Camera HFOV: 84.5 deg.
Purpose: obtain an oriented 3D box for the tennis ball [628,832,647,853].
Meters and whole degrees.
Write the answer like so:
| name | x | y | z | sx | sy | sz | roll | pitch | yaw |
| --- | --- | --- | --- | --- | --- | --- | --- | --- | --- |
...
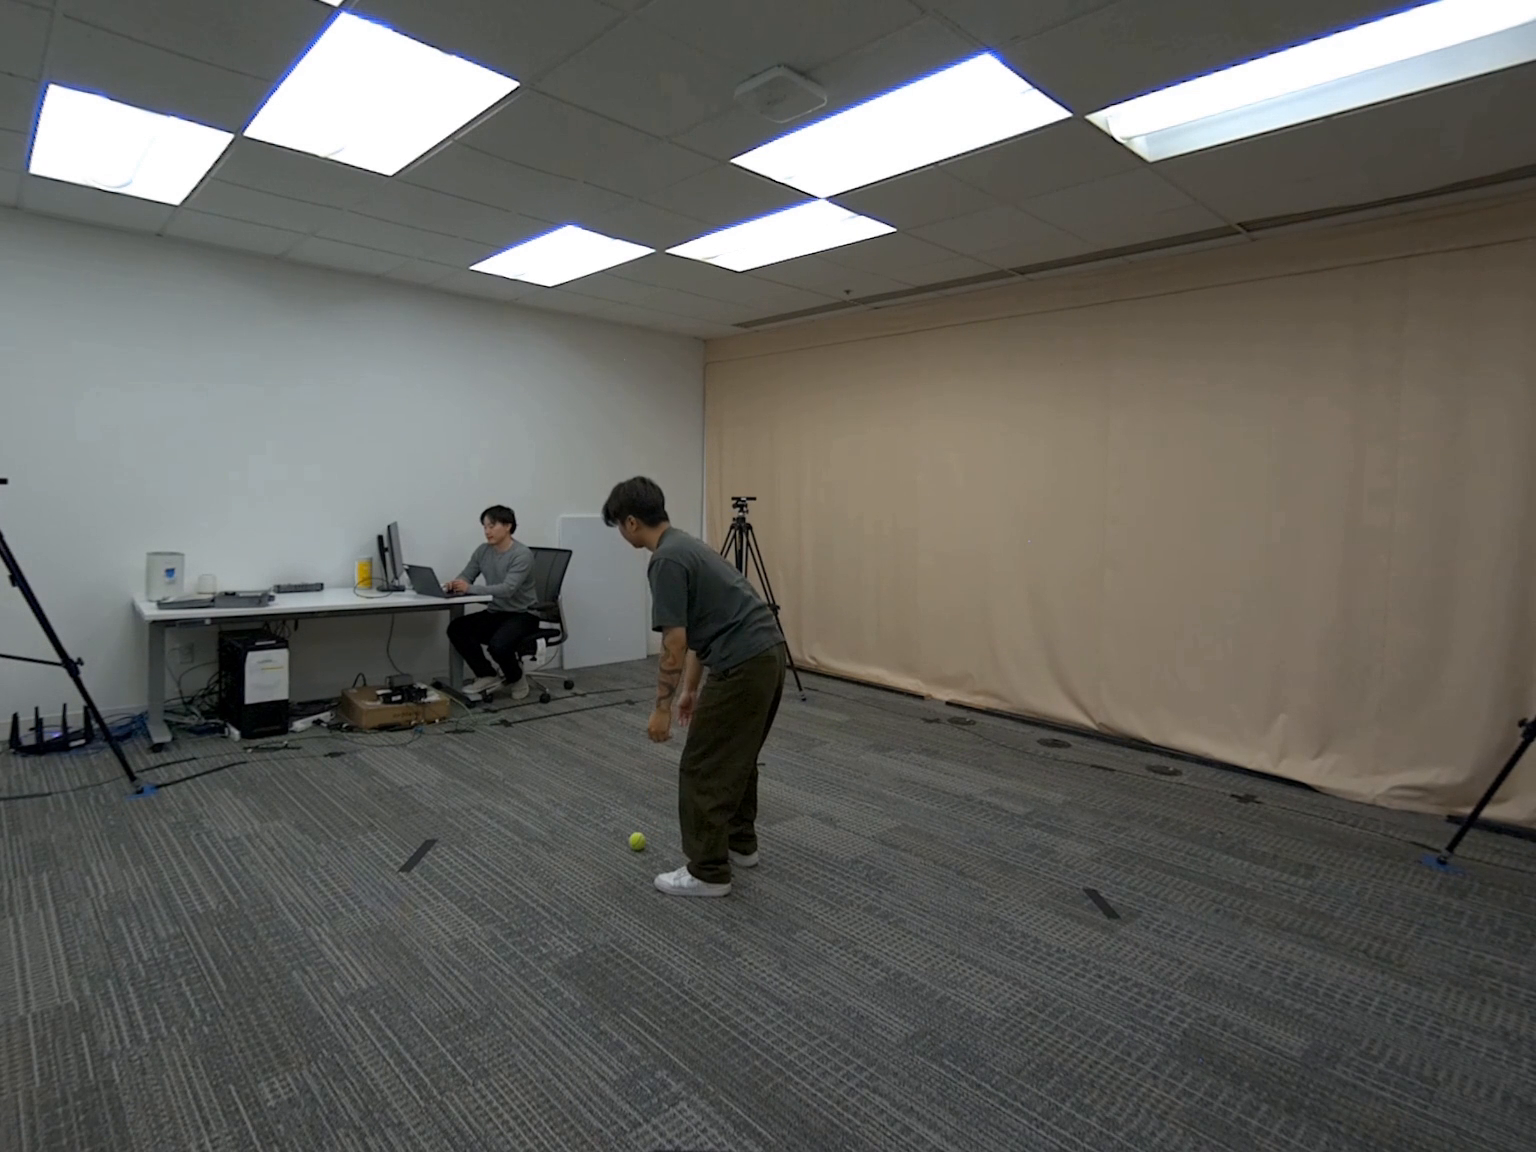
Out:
| name | x | y | z | sx | sy | sz | roll | pitch | yaw |
| --- | --- | --- | --- | --- | --- | --- | --- | --- | --- |
| tennis ball | -0.523 | 1.031 | 3.317 | 0.066 | 0.066 | 0.067 | 1 | 4 | -1 |
